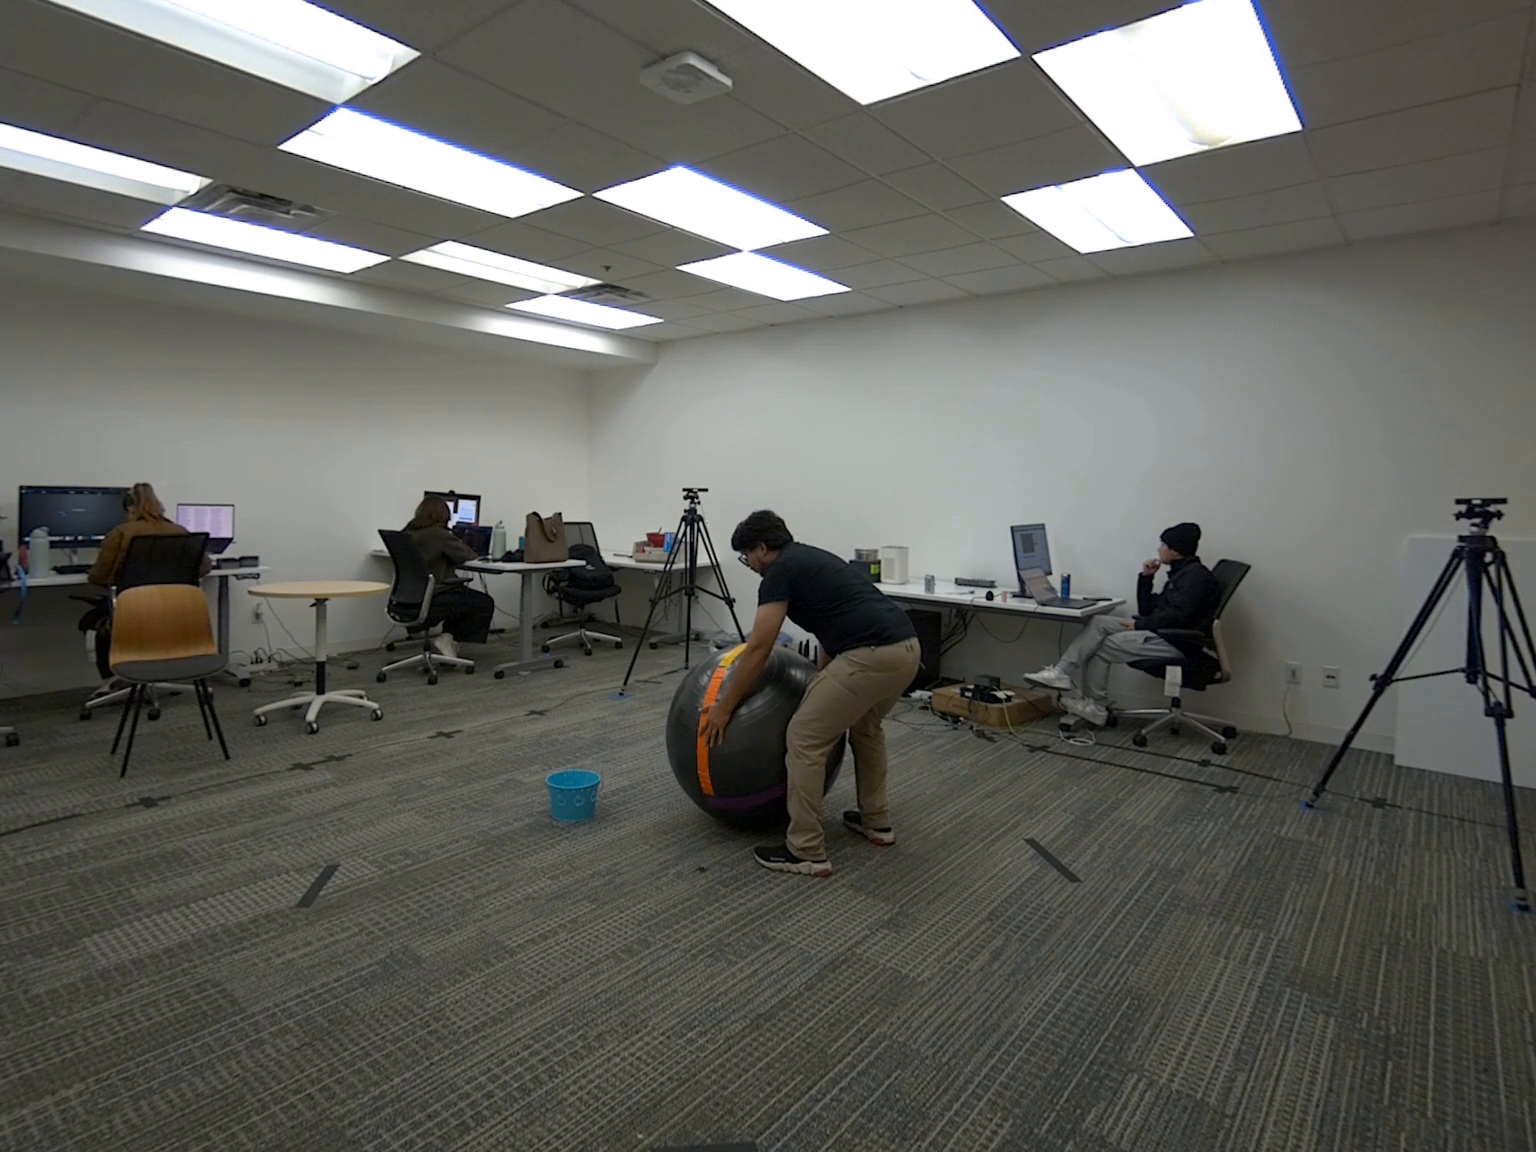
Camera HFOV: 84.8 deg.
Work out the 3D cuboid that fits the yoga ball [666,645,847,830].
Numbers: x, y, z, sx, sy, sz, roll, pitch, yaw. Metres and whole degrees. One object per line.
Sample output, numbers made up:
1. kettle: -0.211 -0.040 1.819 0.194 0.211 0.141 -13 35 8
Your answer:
1. yoga ball: -0.064 0.663 3.586 0.757 0.755 0.762 1 4 -2
